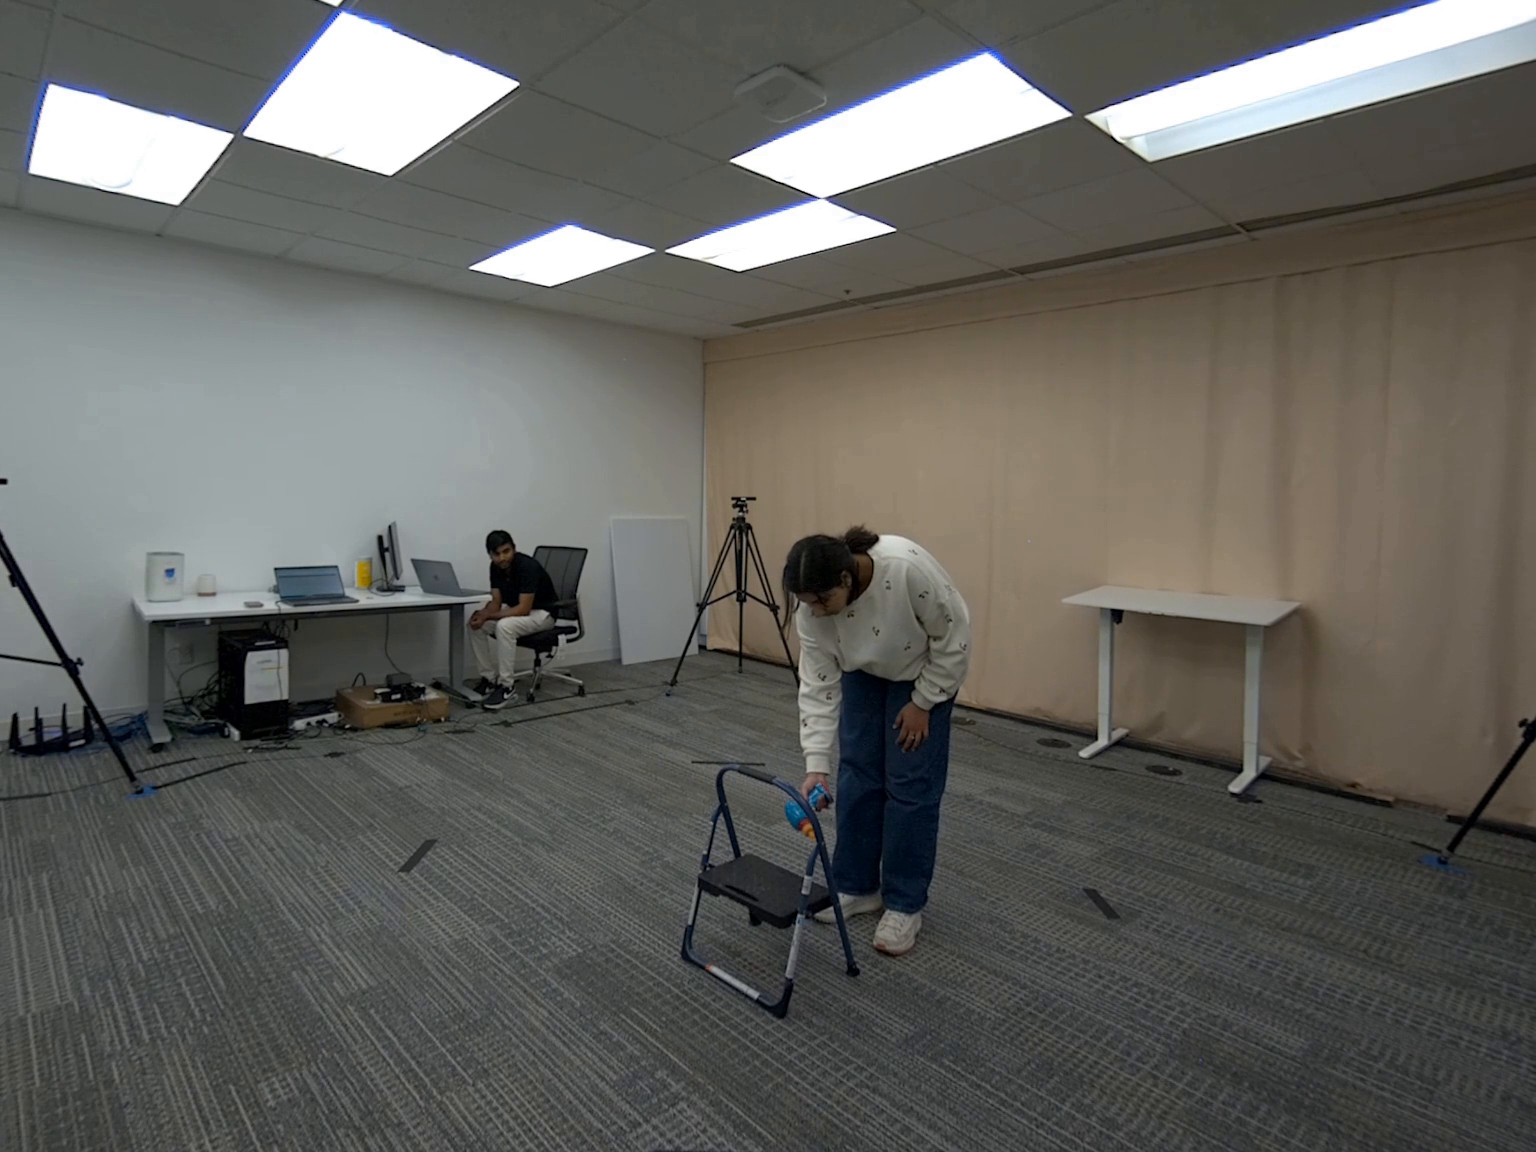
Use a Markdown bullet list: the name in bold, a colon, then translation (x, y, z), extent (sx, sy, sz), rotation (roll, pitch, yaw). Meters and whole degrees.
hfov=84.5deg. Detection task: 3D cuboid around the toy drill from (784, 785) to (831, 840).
- **toy drill**: translation (0.131, 0.692, 2.420), extent (0.145, 0.059, 0.175), rotation (-30, 34, -12)
